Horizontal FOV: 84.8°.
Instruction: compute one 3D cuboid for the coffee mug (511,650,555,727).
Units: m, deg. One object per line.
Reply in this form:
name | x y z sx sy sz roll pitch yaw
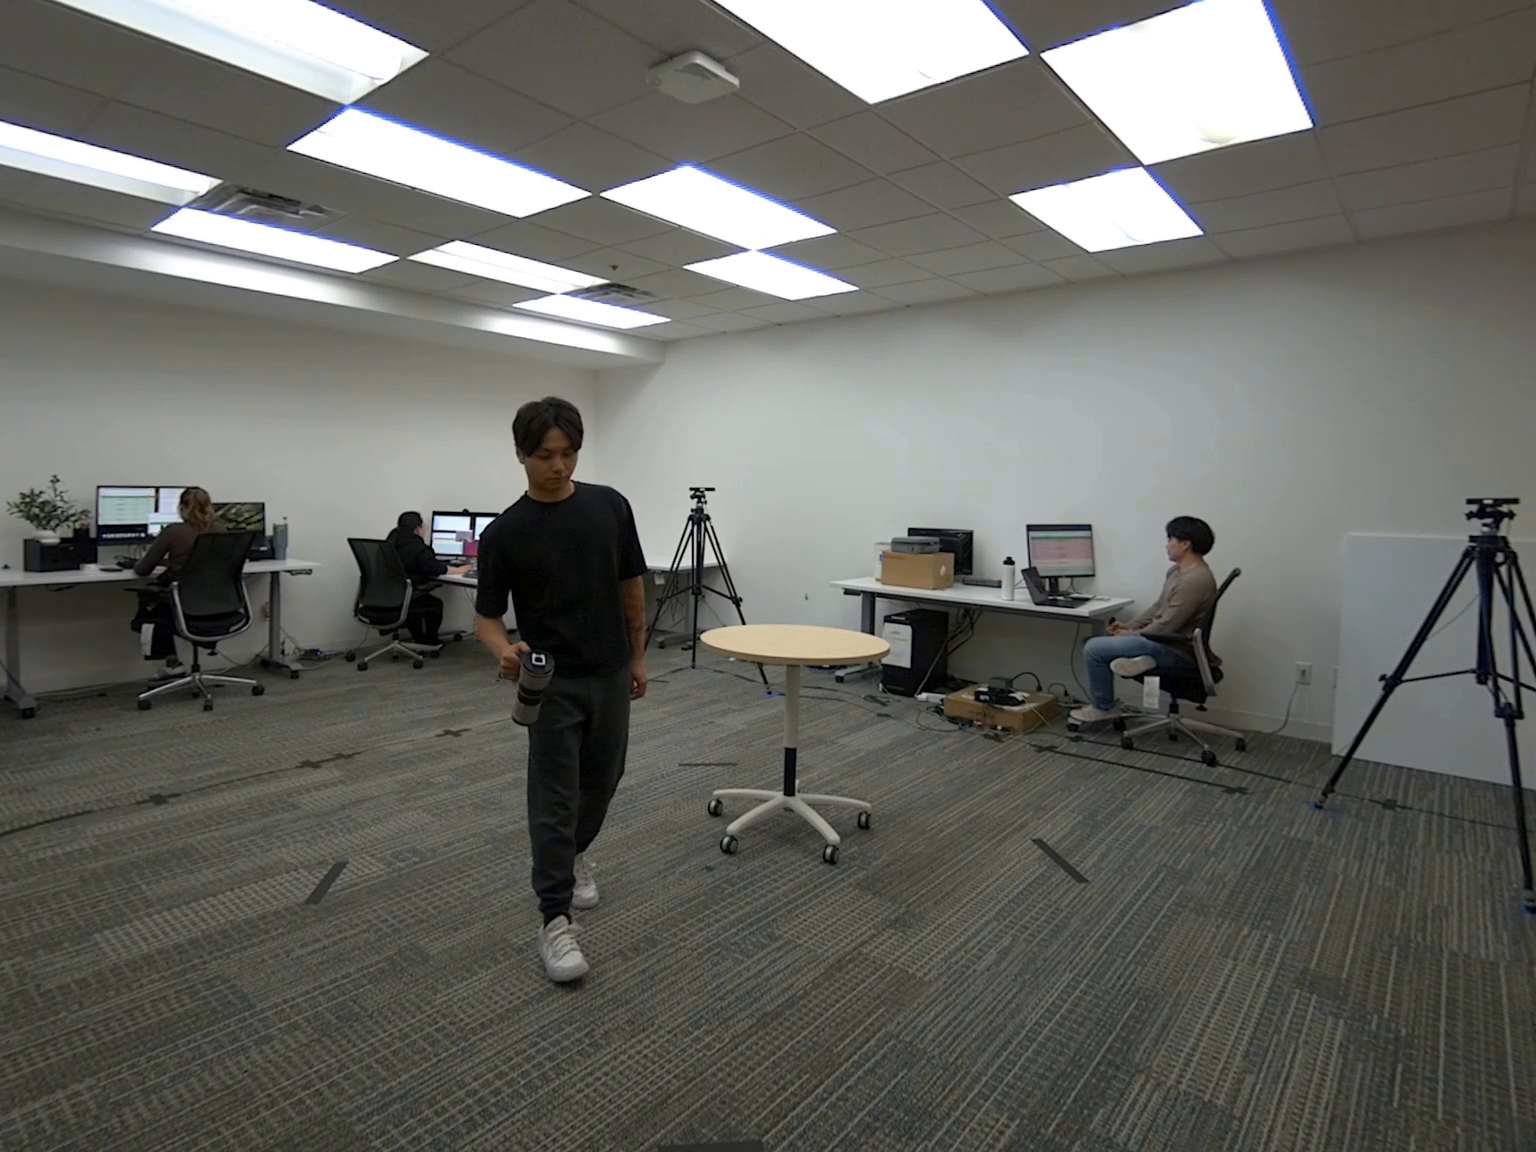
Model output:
coffee mug | -0.662 0.307 2.355 0.090 0.199 0.121 20 28 16
